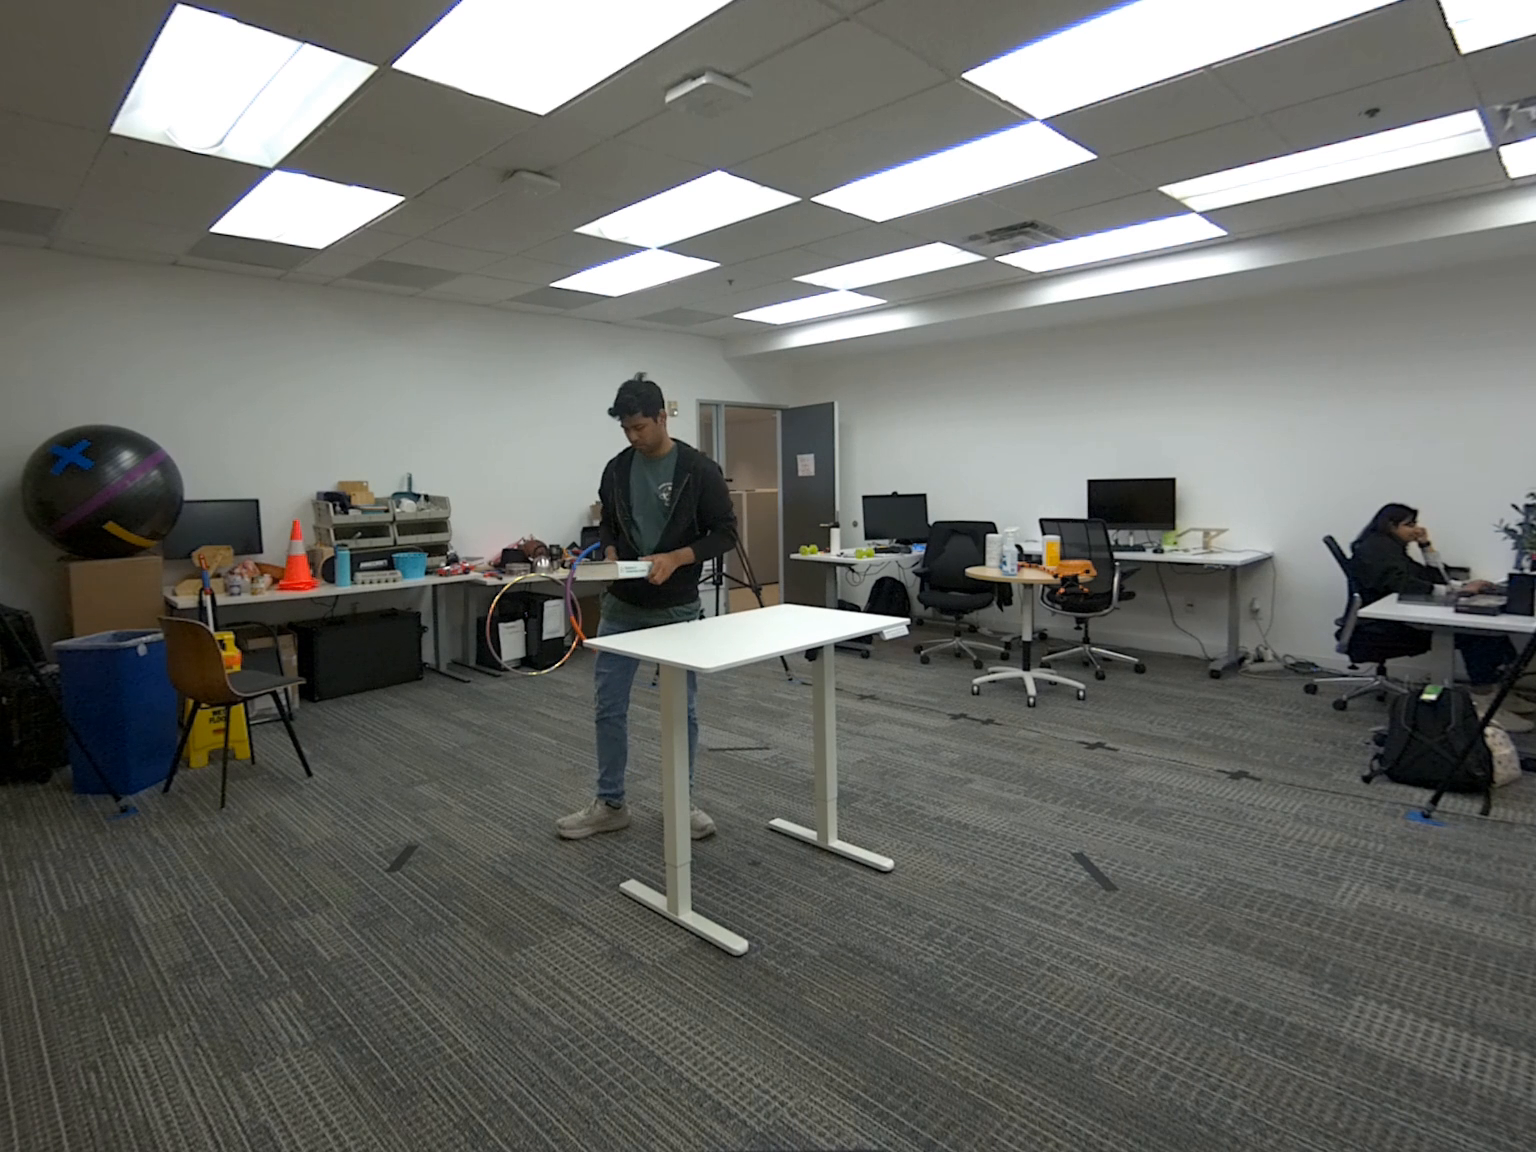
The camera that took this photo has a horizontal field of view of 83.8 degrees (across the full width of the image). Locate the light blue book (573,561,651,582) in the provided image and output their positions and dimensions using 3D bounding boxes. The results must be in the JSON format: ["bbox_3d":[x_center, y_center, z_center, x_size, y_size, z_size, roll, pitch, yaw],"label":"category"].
[{"bbox_3d":[-0.564,-0.016,3.100,0.195,0.059,0.256,-1,2,20],"label":"light blue book"}]
